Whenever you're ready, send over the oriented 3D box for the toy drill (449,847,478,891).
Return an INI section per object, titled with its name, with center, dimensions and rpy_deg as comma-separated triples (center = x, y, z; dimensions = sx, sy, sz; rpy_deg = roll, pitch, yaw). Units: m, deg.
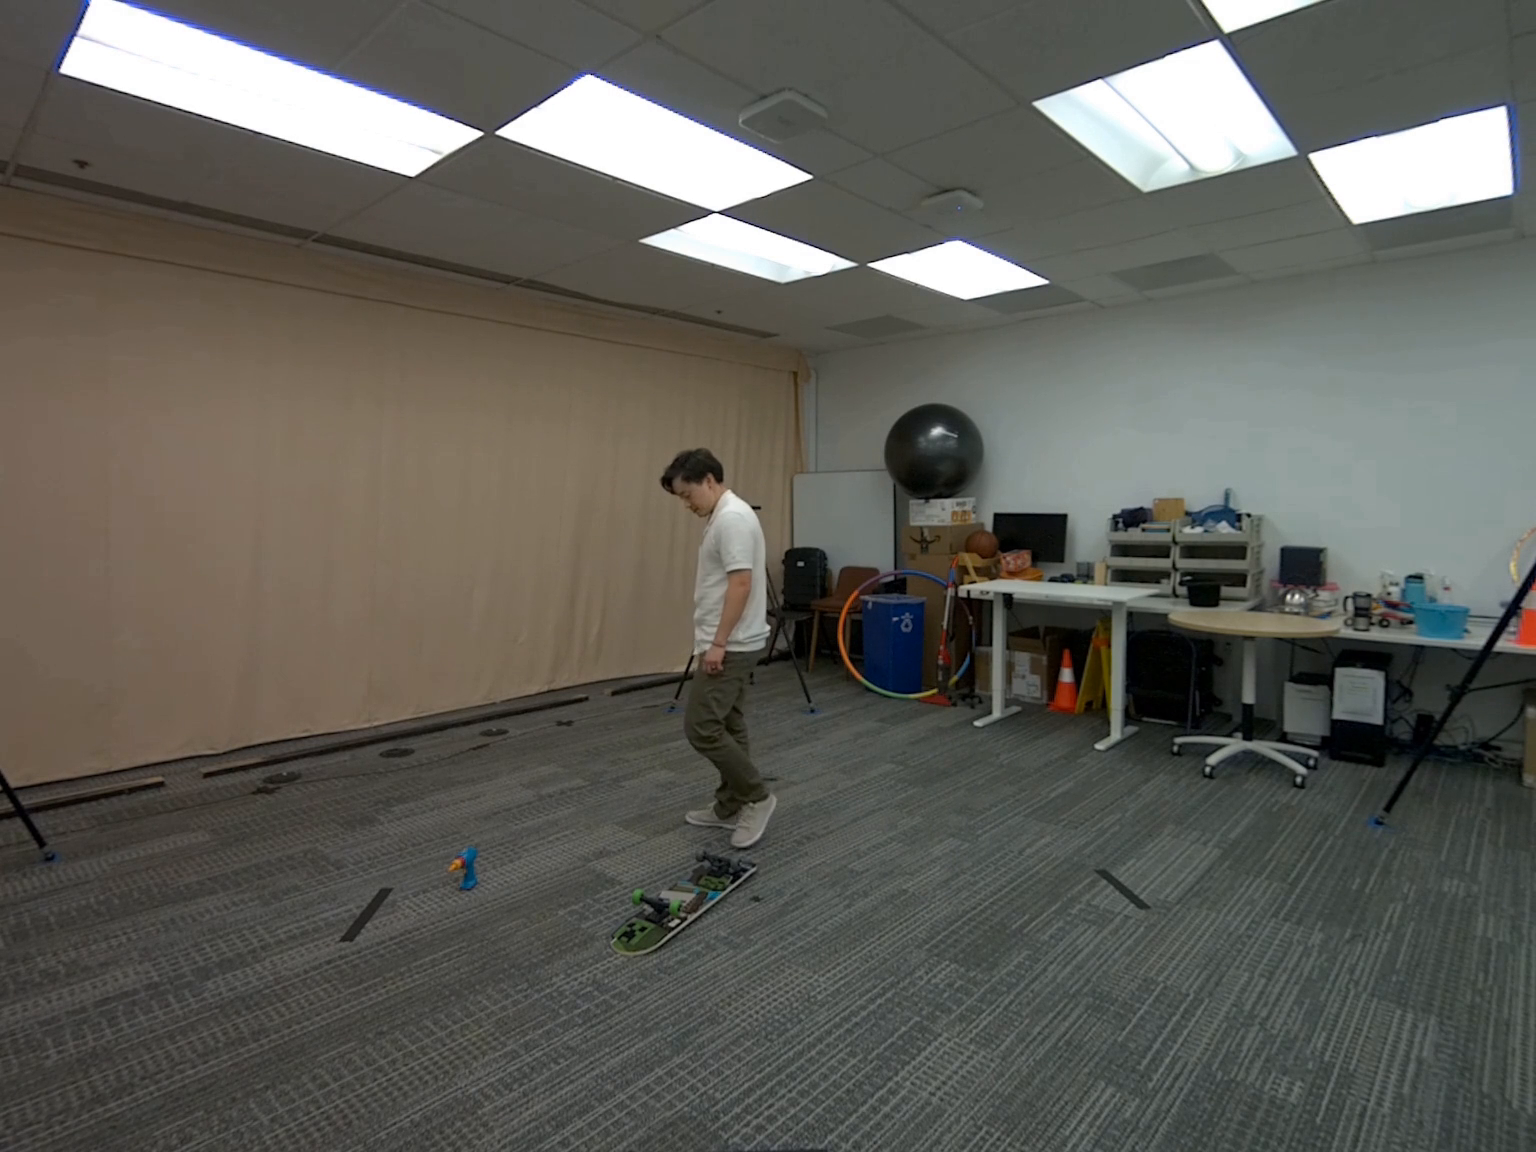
[toy drill]
center = -1.103, 1.070, 3.054
dimensions = 0.061, 0.146, 0.169
rpy_deg = 3, 4, 5
